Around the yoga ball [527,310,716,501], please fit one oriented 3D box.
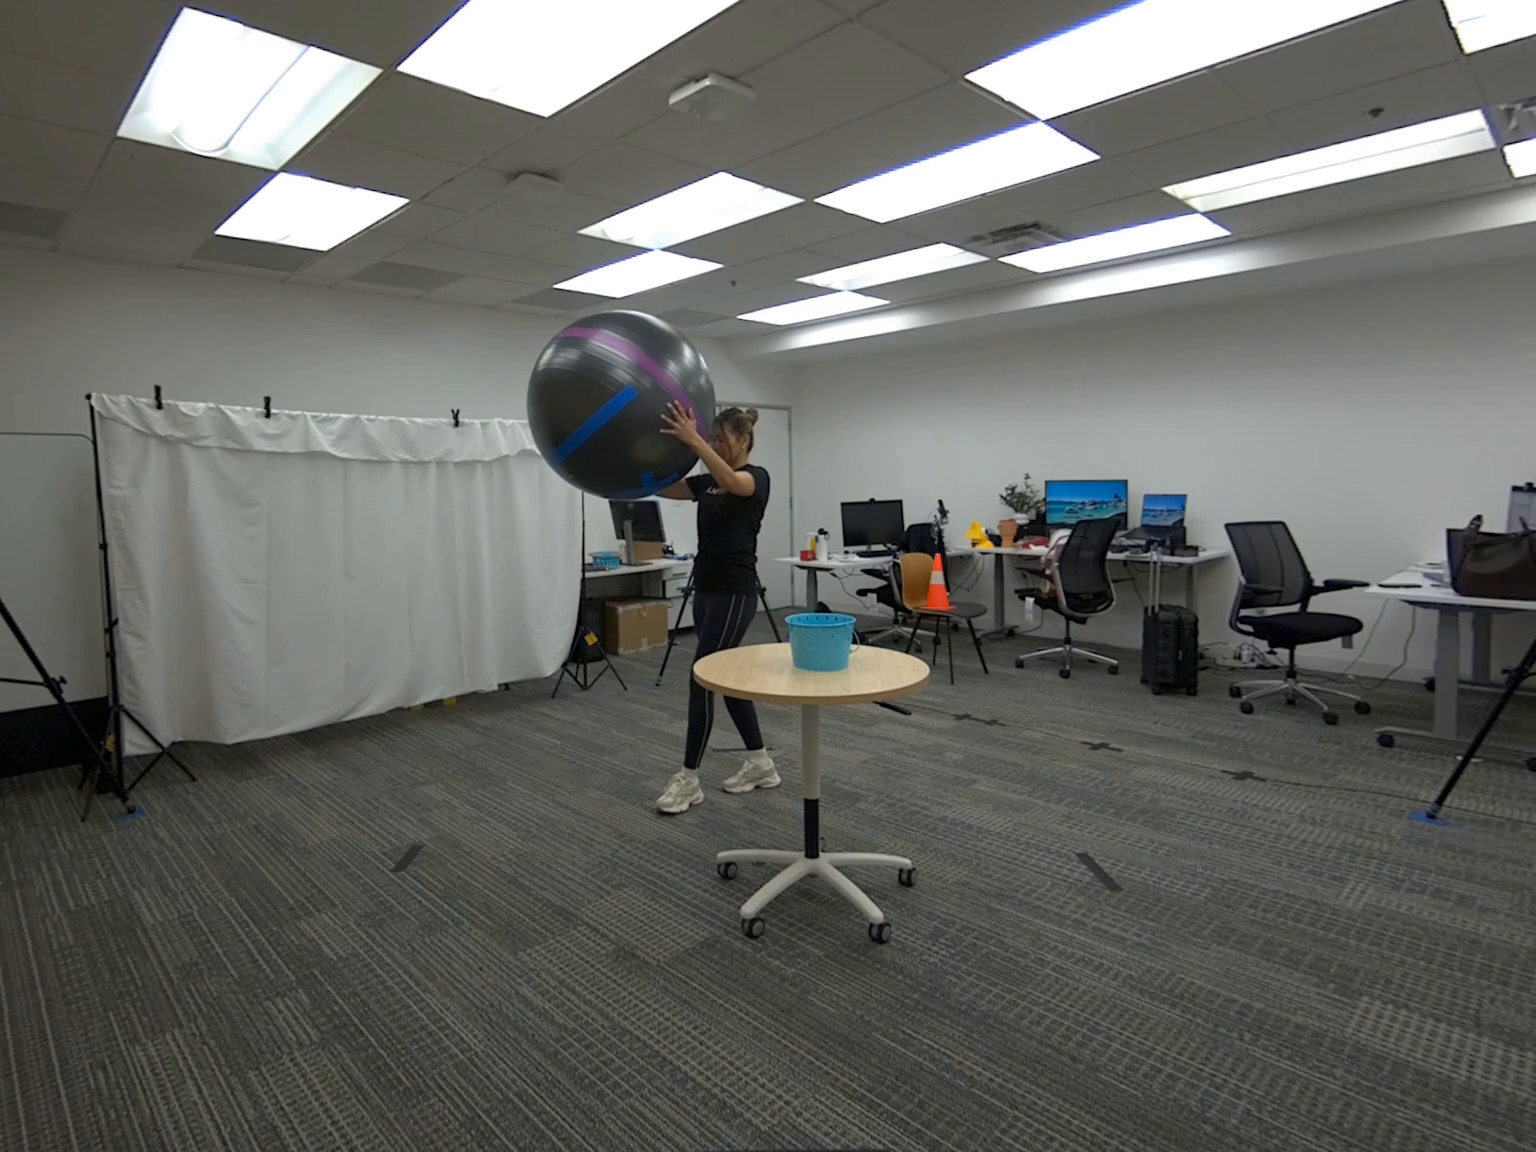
[{"bbox_3d":[-0.598,-0.685,3.473,0.757,0.755,0.762,-1,5,-2],"label":"yoga ball"}]
